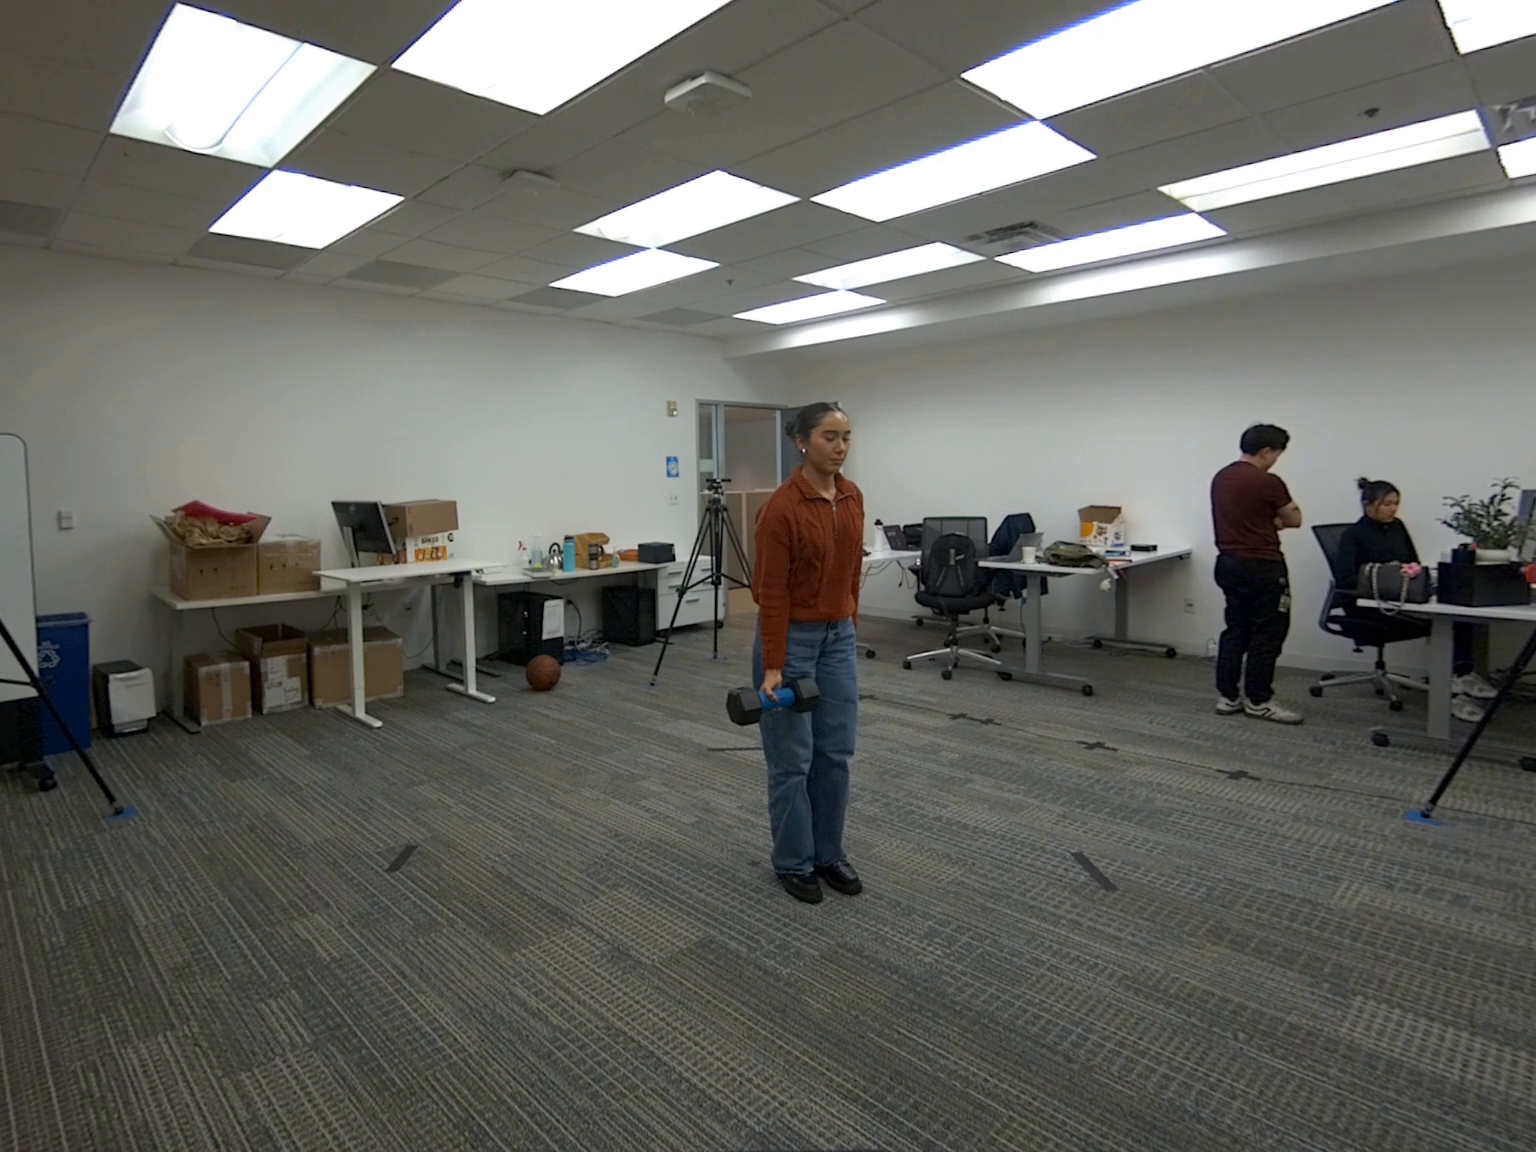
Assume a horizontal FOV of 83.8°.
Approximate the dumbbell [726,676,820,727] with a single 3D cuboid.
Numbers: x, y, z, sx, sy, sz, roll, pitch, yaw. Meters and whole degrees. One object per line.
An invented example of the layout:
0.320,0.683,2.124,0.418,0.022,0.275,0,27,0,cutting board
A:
0.019,0.391,2.701,0.287,0.121,0.113,-7,33,-28,dumbbell
